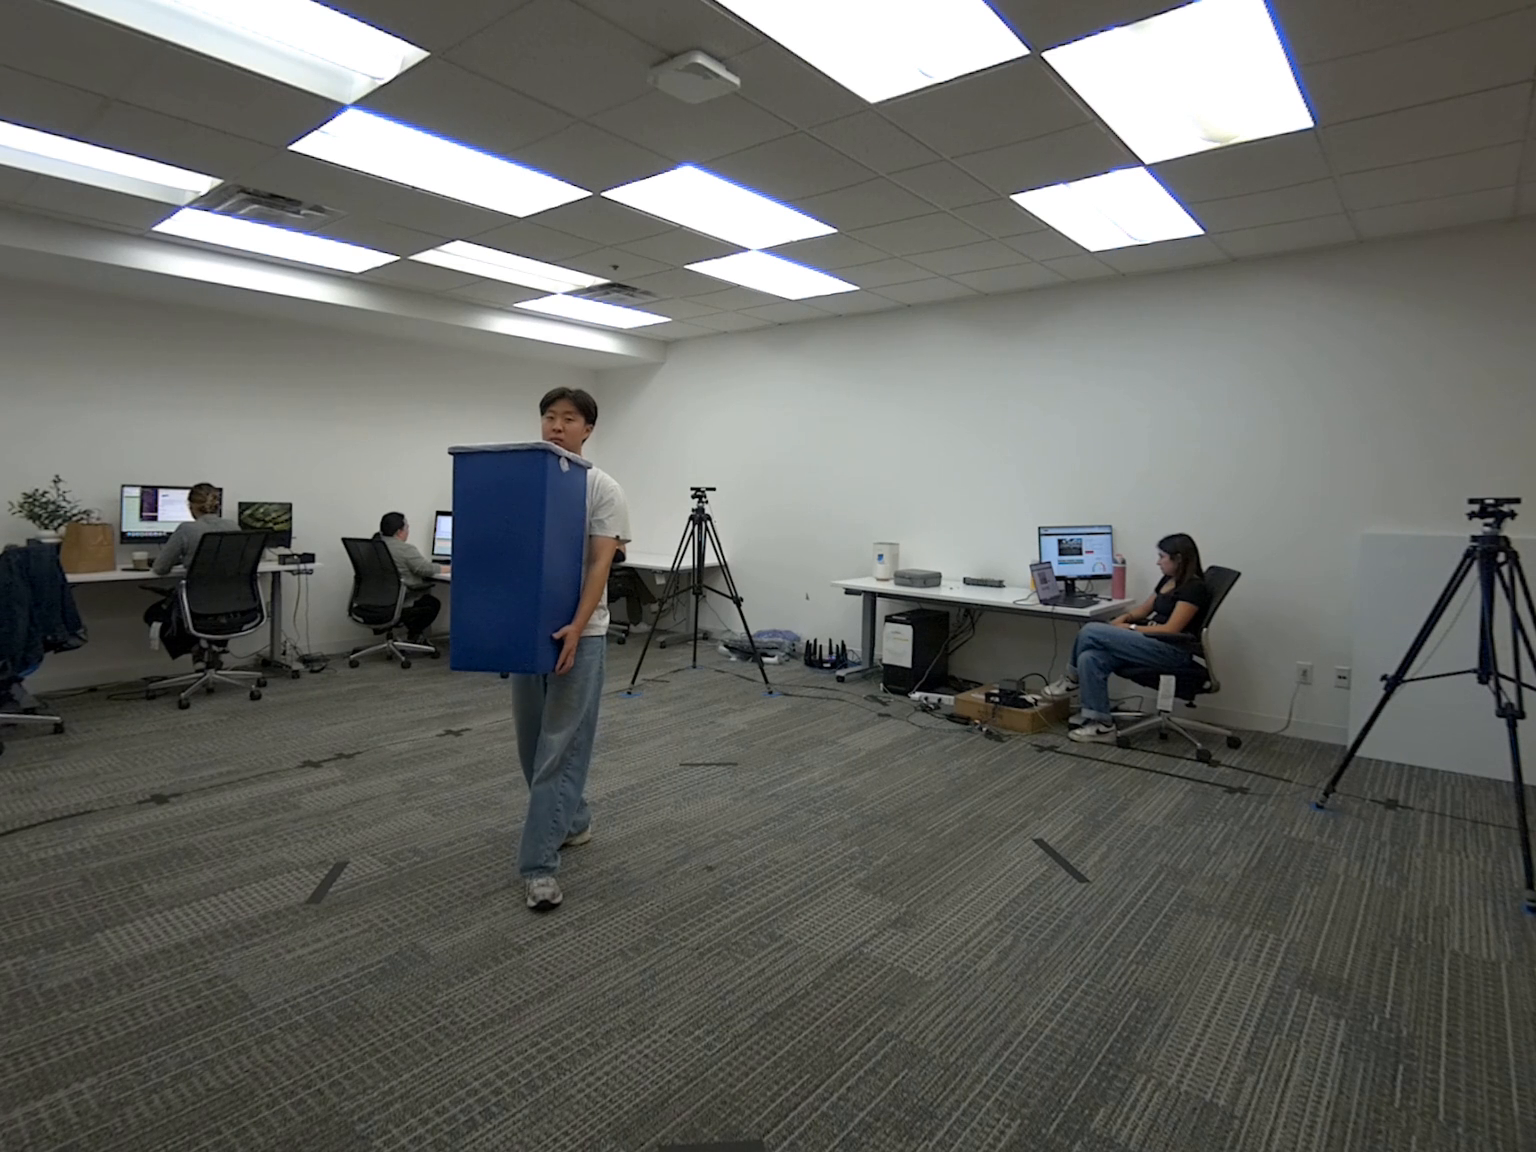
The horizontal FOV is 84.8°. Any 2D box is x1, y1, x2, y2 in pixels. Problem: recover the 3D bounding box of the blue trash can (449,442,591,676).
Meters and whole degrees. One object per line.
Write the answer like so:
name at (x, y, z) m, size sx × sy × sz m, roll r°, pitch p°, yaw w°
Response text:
blue trash can at (-0.843, -0.061, 2.802) m, size 0.380 × 0.718 × 0.370 m, roll 1°, pitch -7°, yaw 14°
